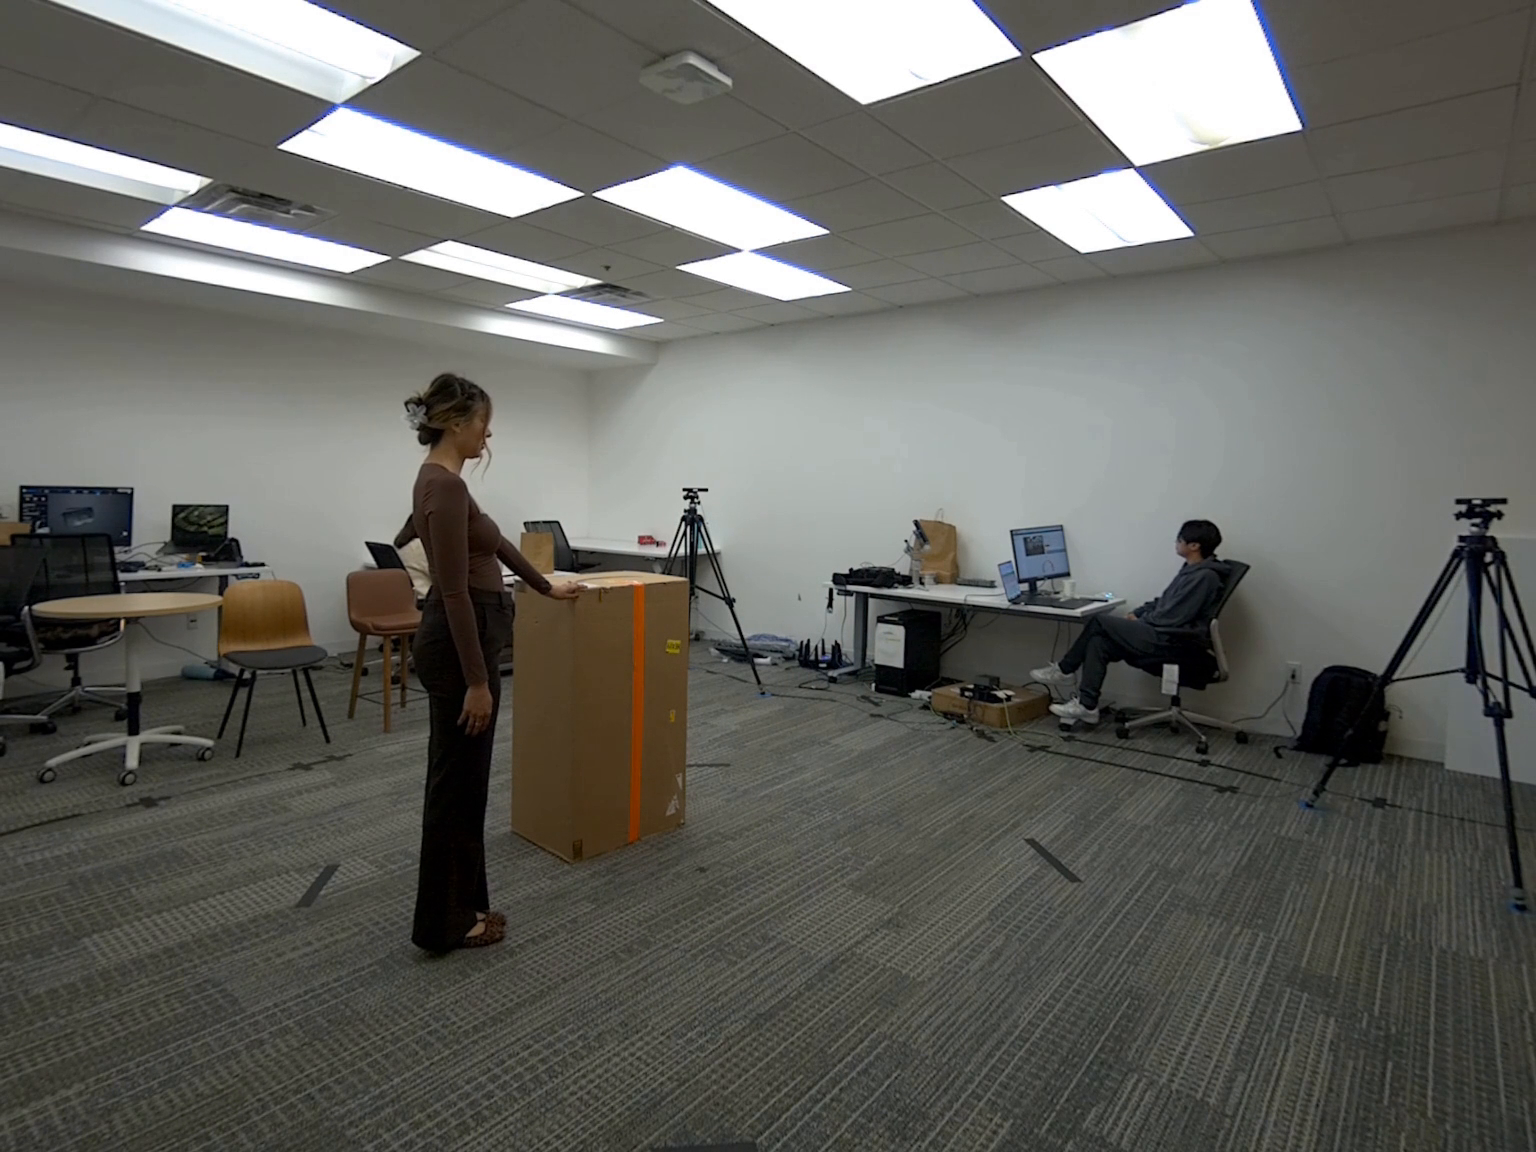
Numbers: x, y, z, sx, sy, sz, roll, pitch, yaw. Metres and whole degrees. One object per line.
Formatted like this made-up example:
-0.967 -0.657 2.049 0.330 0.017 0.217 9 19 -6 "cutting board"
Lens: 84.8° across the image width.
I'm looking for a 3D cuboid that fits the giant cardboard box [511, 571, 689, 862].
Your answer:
-0.688 0.519 3.455 0.462 1.024 0.566 5 5 45 "giant cardboard box"
